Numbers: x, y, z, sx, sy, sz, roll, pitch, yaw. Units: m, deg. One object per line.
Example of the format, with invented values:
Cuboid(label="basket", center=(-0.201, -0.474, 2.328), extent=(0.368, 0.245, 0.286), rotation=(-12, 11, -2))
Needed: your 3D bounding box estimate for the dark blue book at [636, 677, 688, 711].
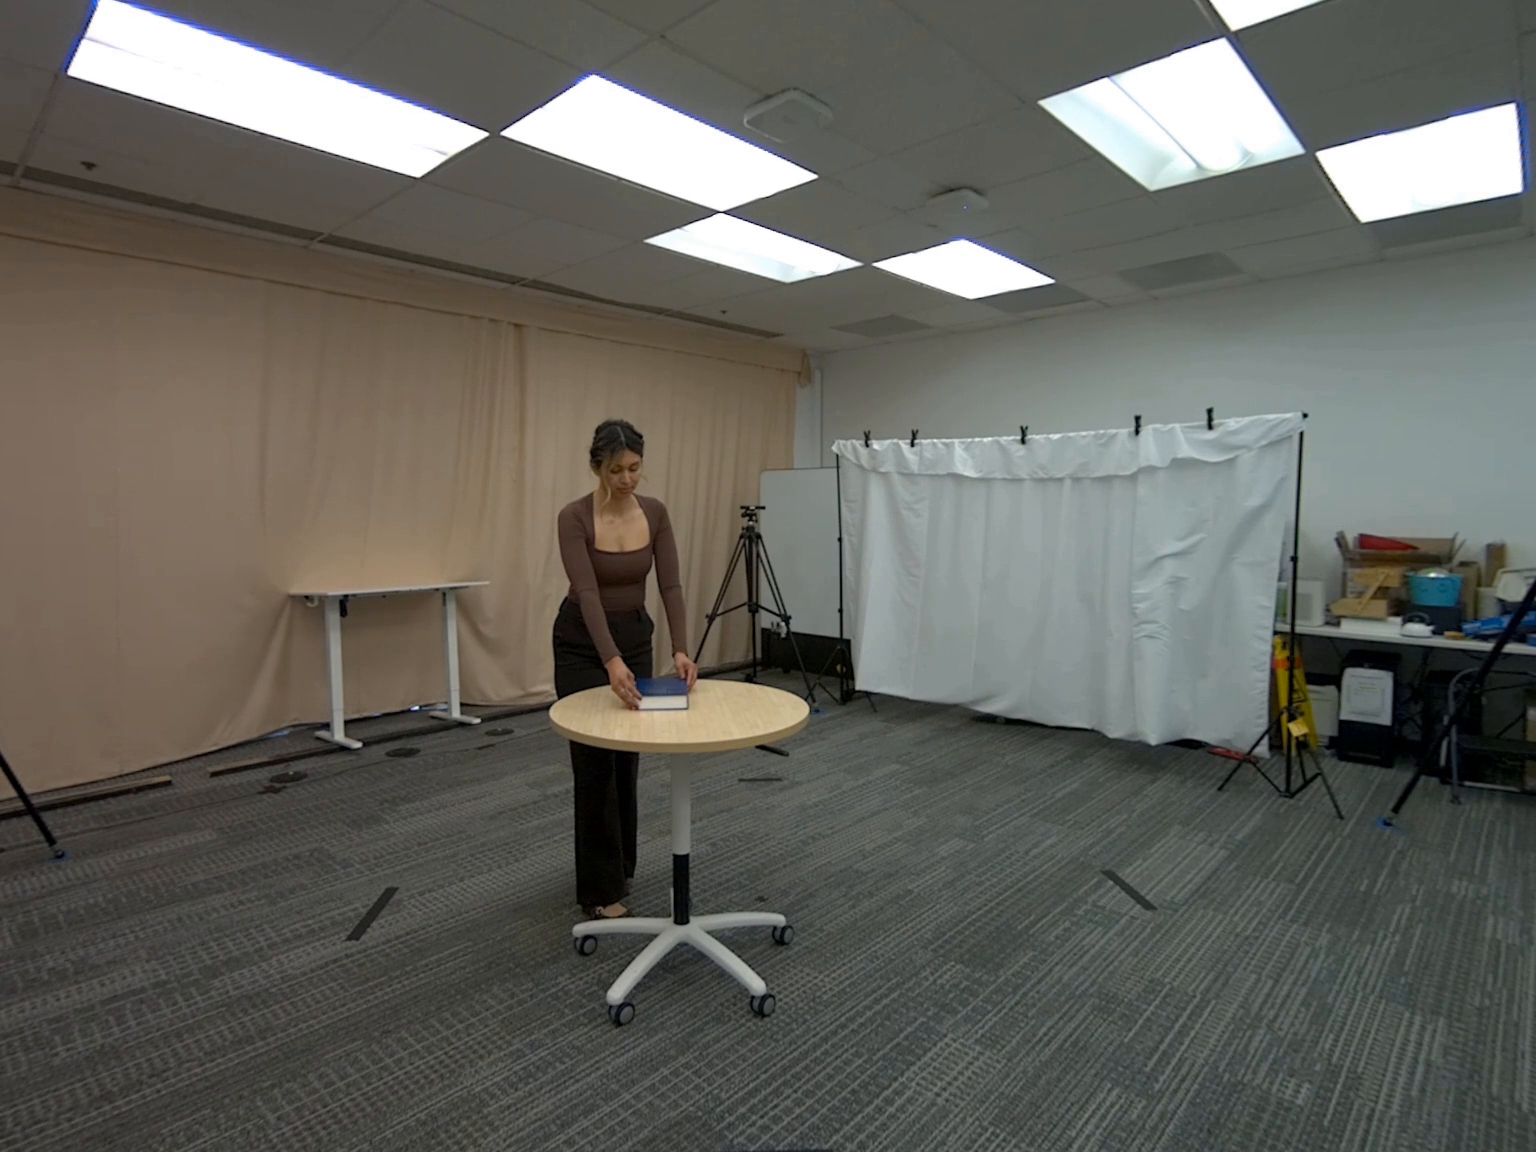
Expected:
Cuboid(label="dark blue book", center=(-0.329, 0.367, 2.570), extent=(0.163, 0.045, 0.246), rotation=(-1, 5, -4))
